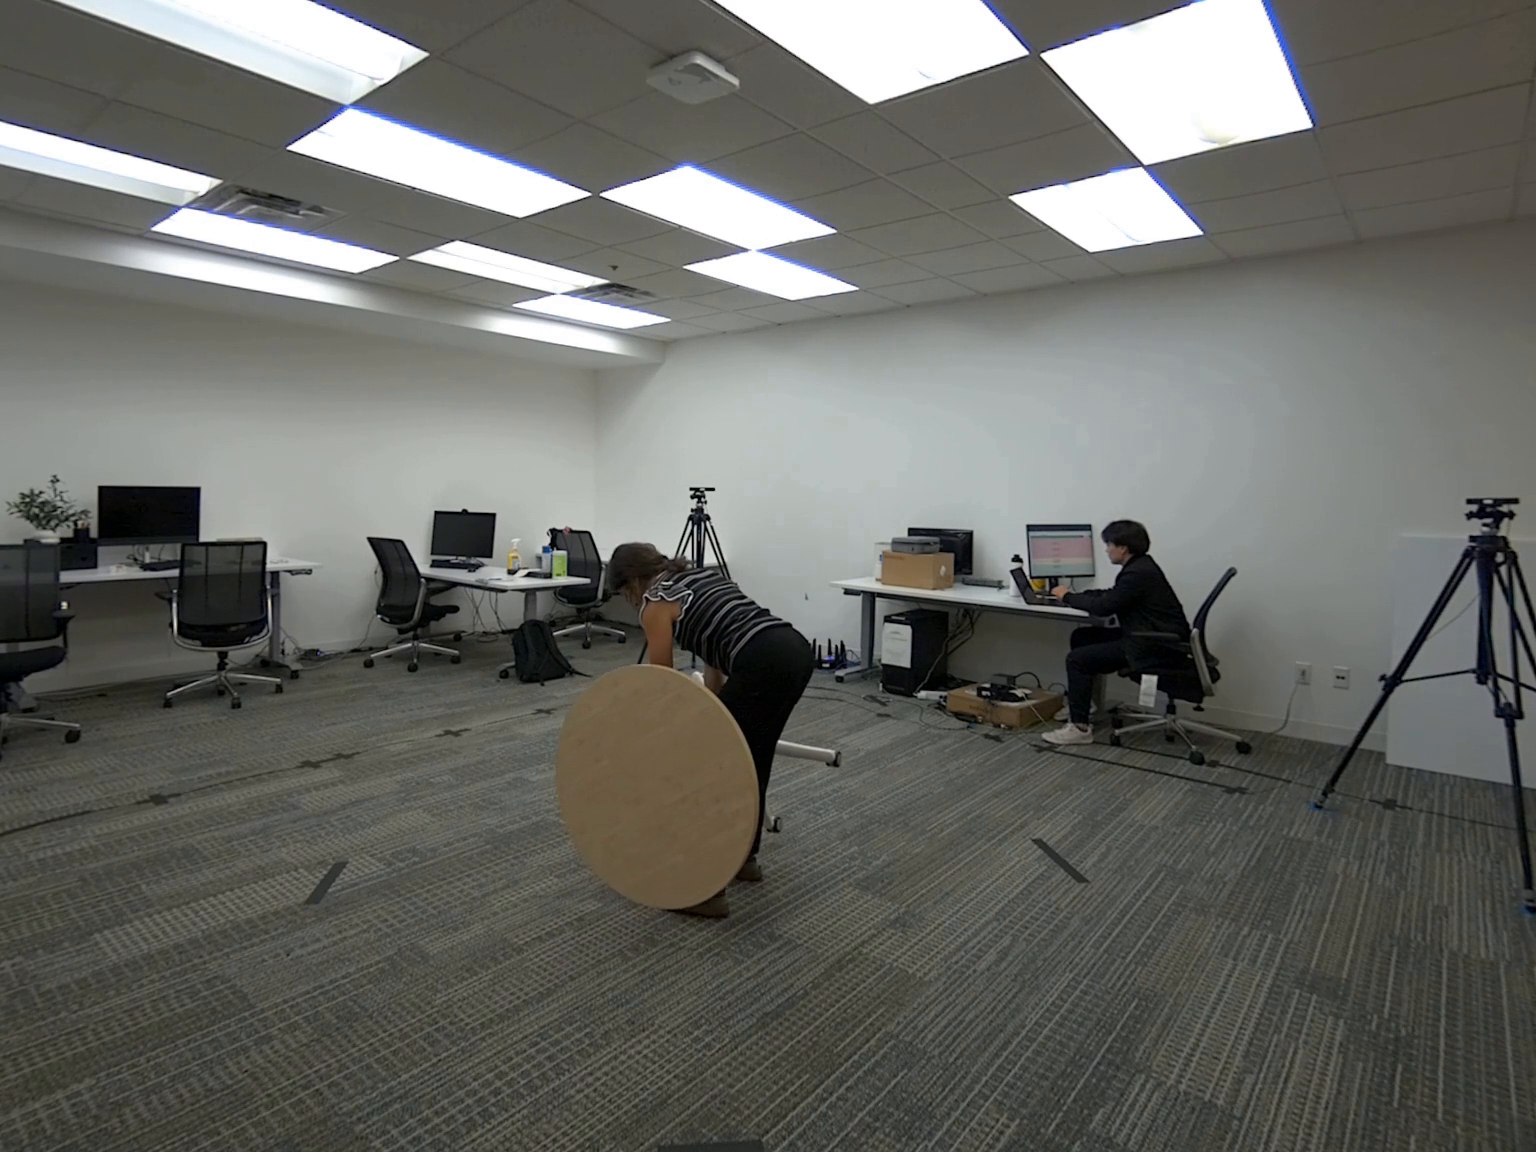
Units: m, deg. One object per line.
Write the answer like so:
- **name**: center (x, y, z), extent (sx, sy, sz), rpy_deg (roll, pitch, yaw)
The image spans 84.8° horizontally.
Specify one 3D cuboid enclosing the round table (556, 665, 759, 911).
- **round table**: center (-0.215, 0.650, 3.060), extent (0.786, 0.763, 0.773), rpy_deg (3, 3, 28)
